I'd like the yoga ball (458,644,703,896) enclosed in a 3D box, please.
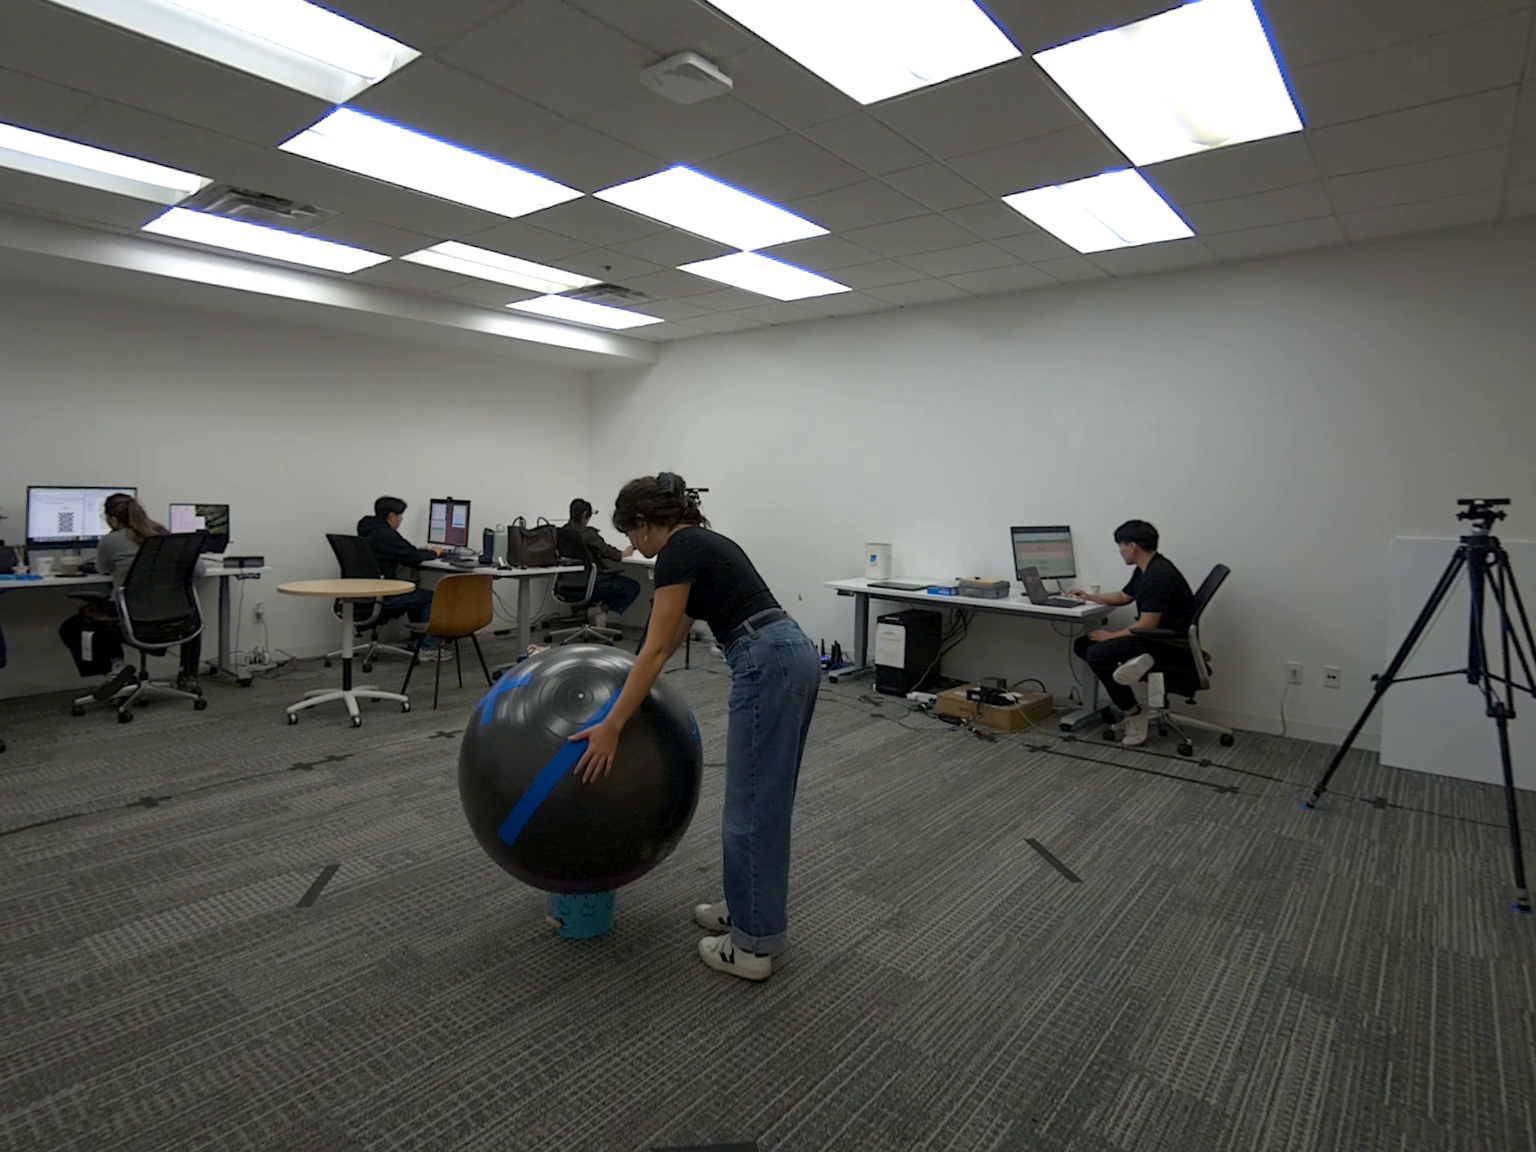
[{"bbox_3d":[-0.594,0.601,2.678,0.757,0.756,0.762,1,4,-2],"label":"yoga ball"}]
